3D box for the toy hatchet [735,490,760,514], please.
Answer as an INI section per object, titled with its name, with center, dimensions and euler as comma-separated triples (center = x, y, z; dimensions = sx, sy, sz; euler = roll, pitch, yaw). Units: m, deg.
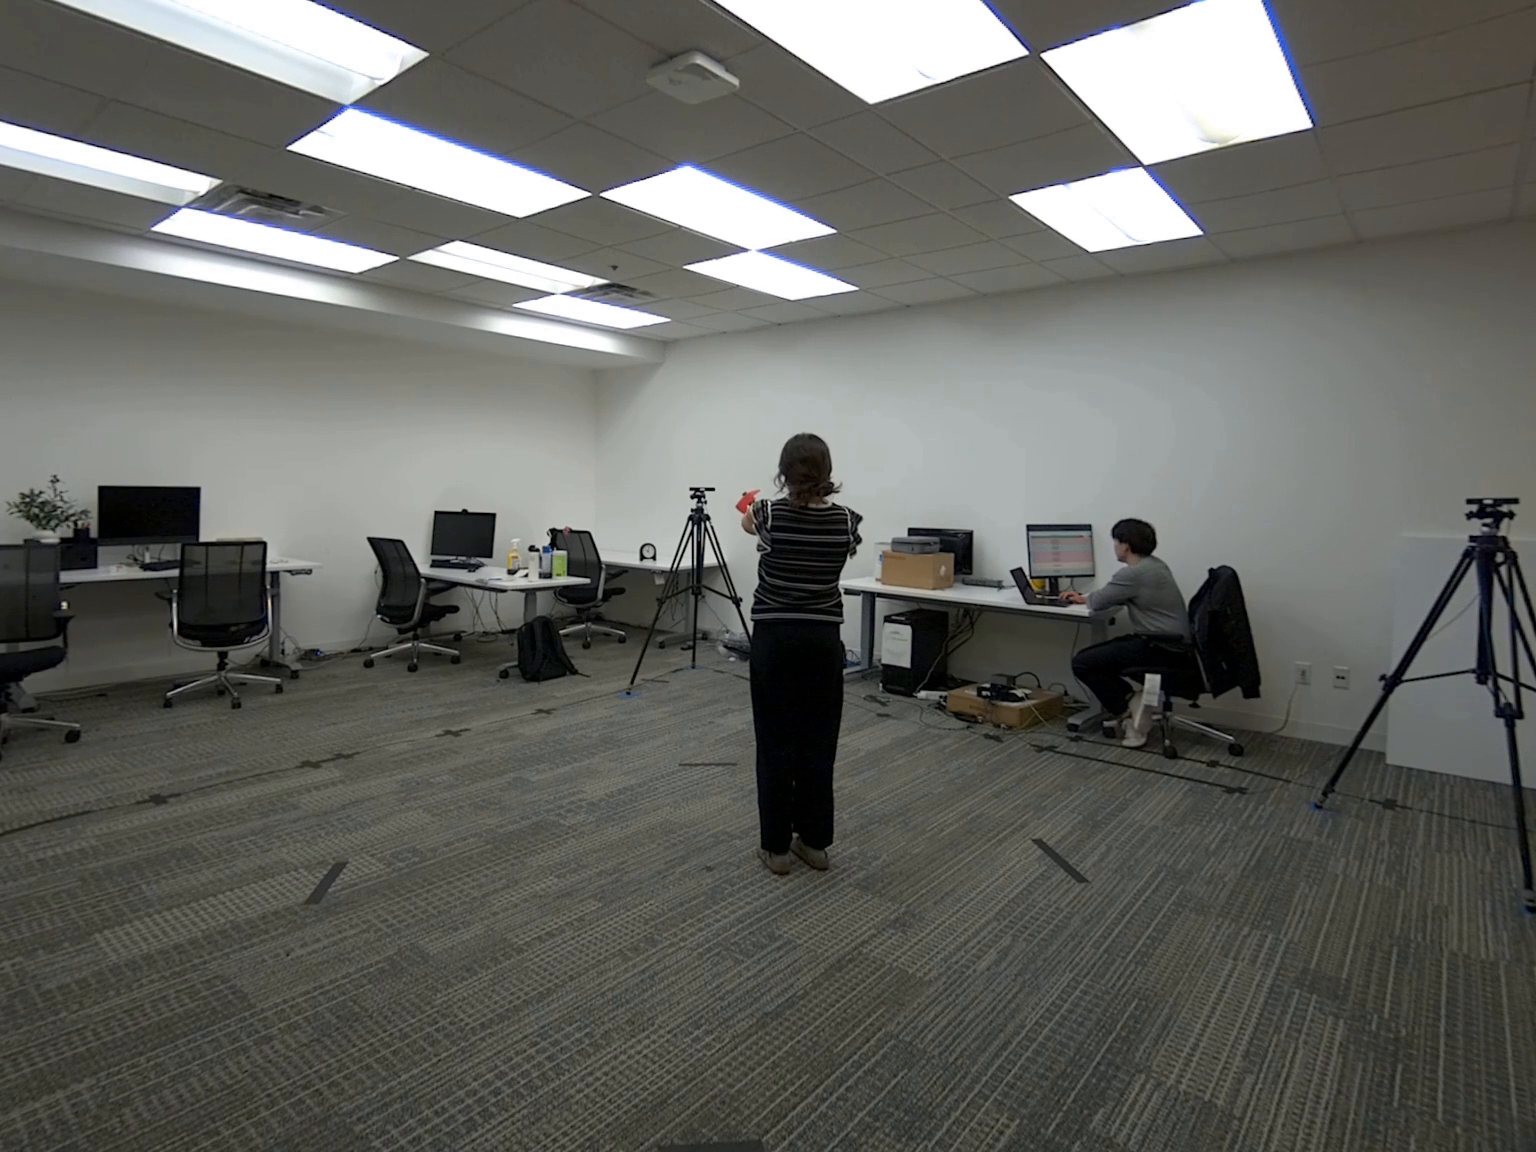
[toy hatchet]
center = -0.061, -0.239, 3.644
dimensions = 0.129, 0.272, 0.029
euler = -17, -7, -16
